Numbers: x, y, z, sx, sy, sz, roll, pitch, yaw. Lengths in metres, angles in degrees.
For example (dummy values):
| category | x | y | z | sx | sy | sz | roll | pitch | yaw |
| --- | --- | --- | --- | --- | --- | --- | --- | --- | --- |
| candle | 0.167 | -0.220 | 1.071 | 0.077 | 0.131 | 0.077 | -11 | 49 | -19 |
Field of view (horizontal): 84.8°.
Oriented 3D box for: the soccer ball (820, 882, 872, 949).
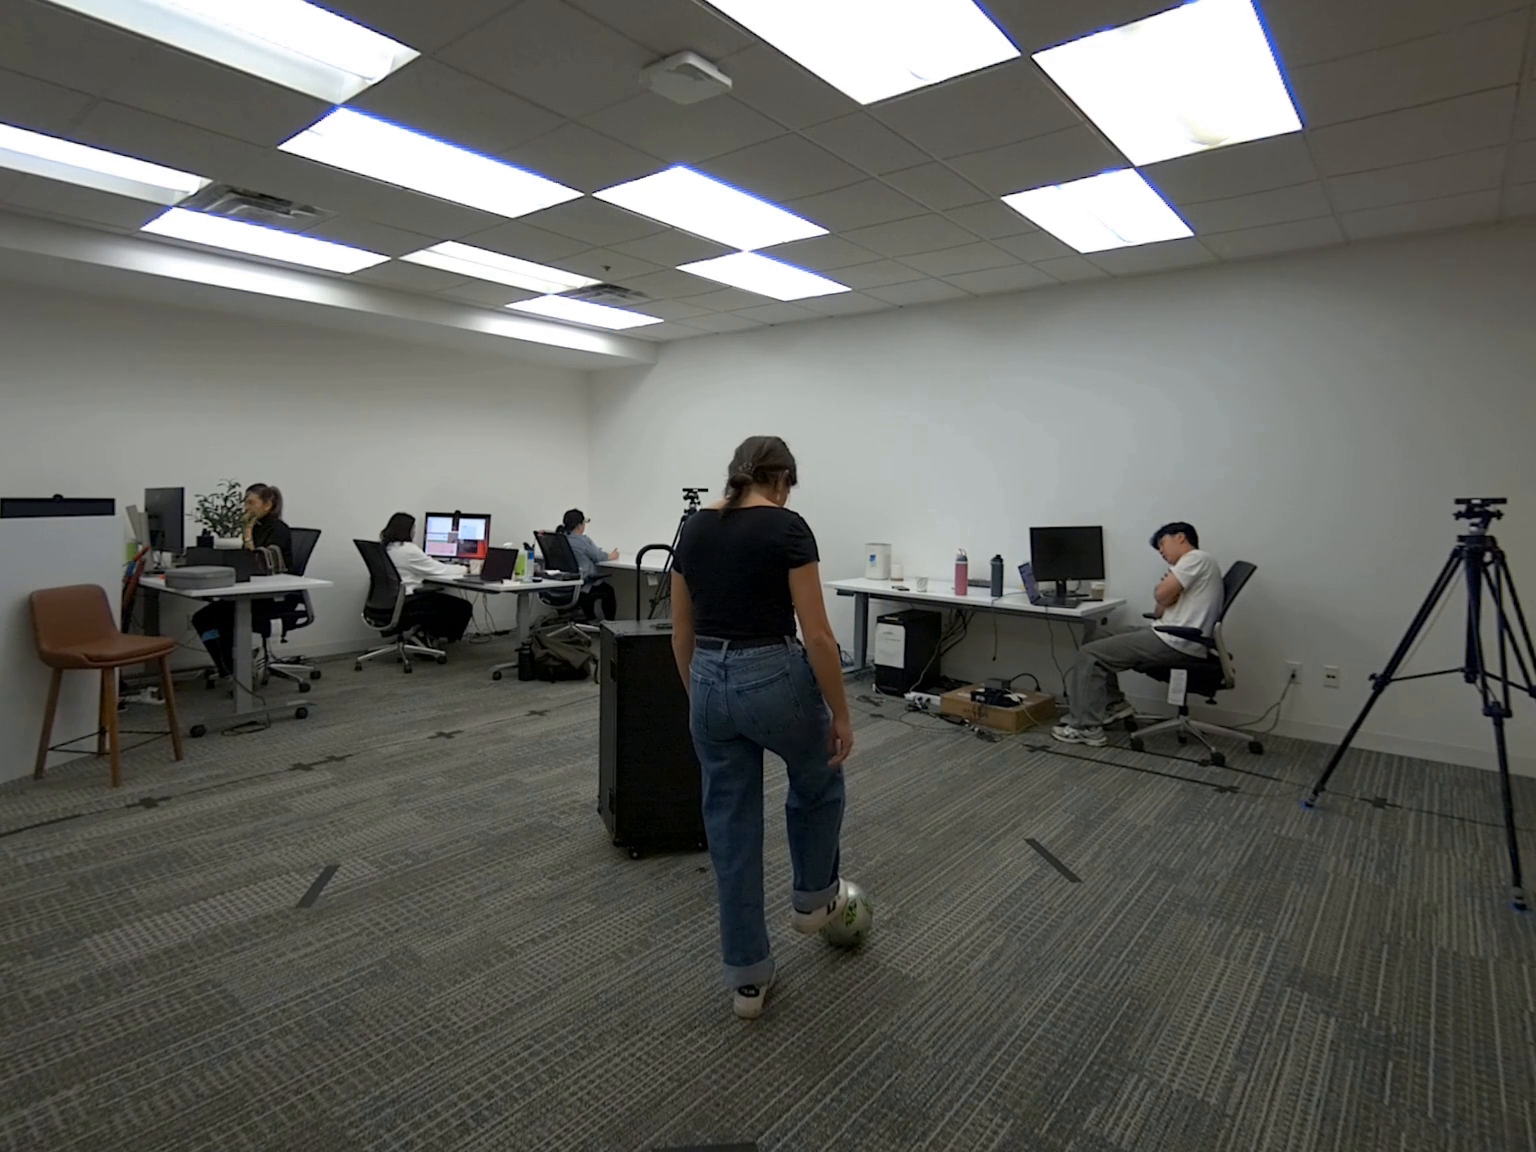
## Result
| category | x | y | z | sx | sy | sz | roll | pitch | yaw |
| --- | --- | --- | --- | --- | --- | --- | --- | --- | --- |
| soccer ball | 0.236 | 1.031 | 2.626 | 0.187 | 0.187 | 0.188 | 1 | 4 | -2 |
